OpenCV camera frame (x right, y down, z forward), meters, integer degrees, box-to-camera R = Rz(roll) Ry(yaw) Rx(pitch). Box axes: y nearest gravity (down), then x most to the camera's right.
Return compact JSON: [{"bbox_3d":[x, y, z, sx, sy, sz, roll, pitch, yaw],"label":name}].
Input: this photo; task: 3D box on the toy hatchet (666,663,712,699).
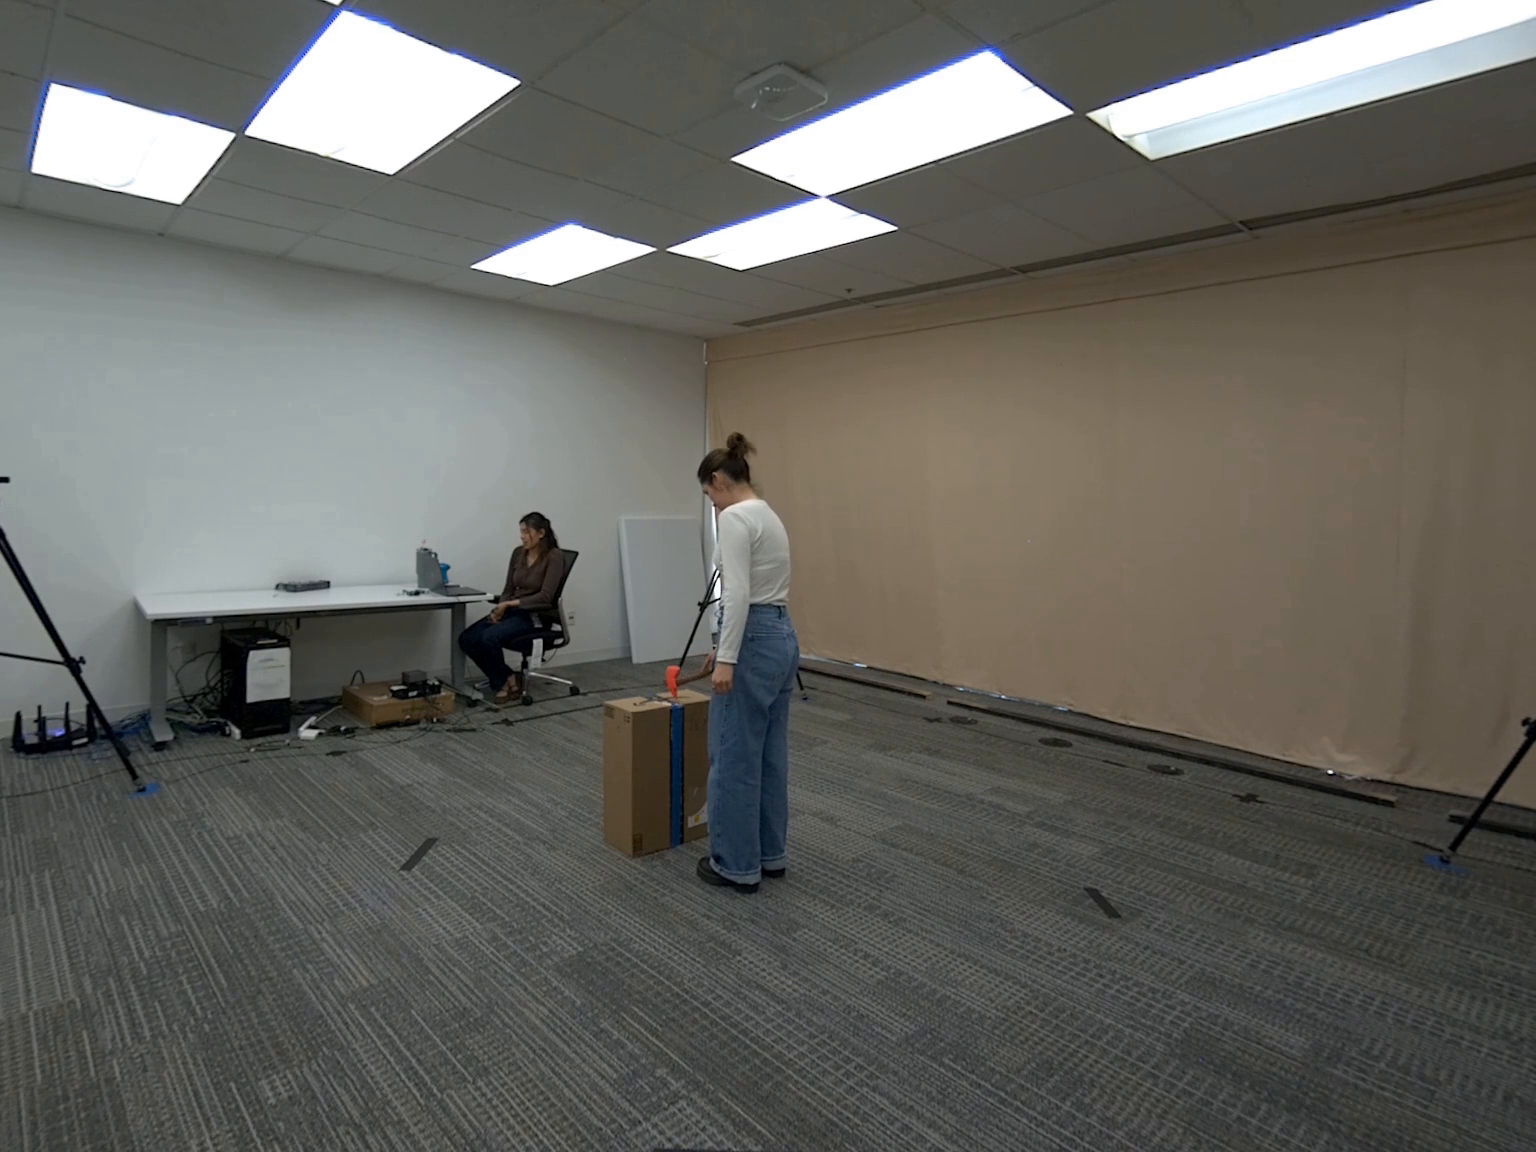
[{"bbox_3d":[-0.321,0.378,3.404,0.271,0.133,0.029,-40,-20,24],"label":"toy hatchet"}]
